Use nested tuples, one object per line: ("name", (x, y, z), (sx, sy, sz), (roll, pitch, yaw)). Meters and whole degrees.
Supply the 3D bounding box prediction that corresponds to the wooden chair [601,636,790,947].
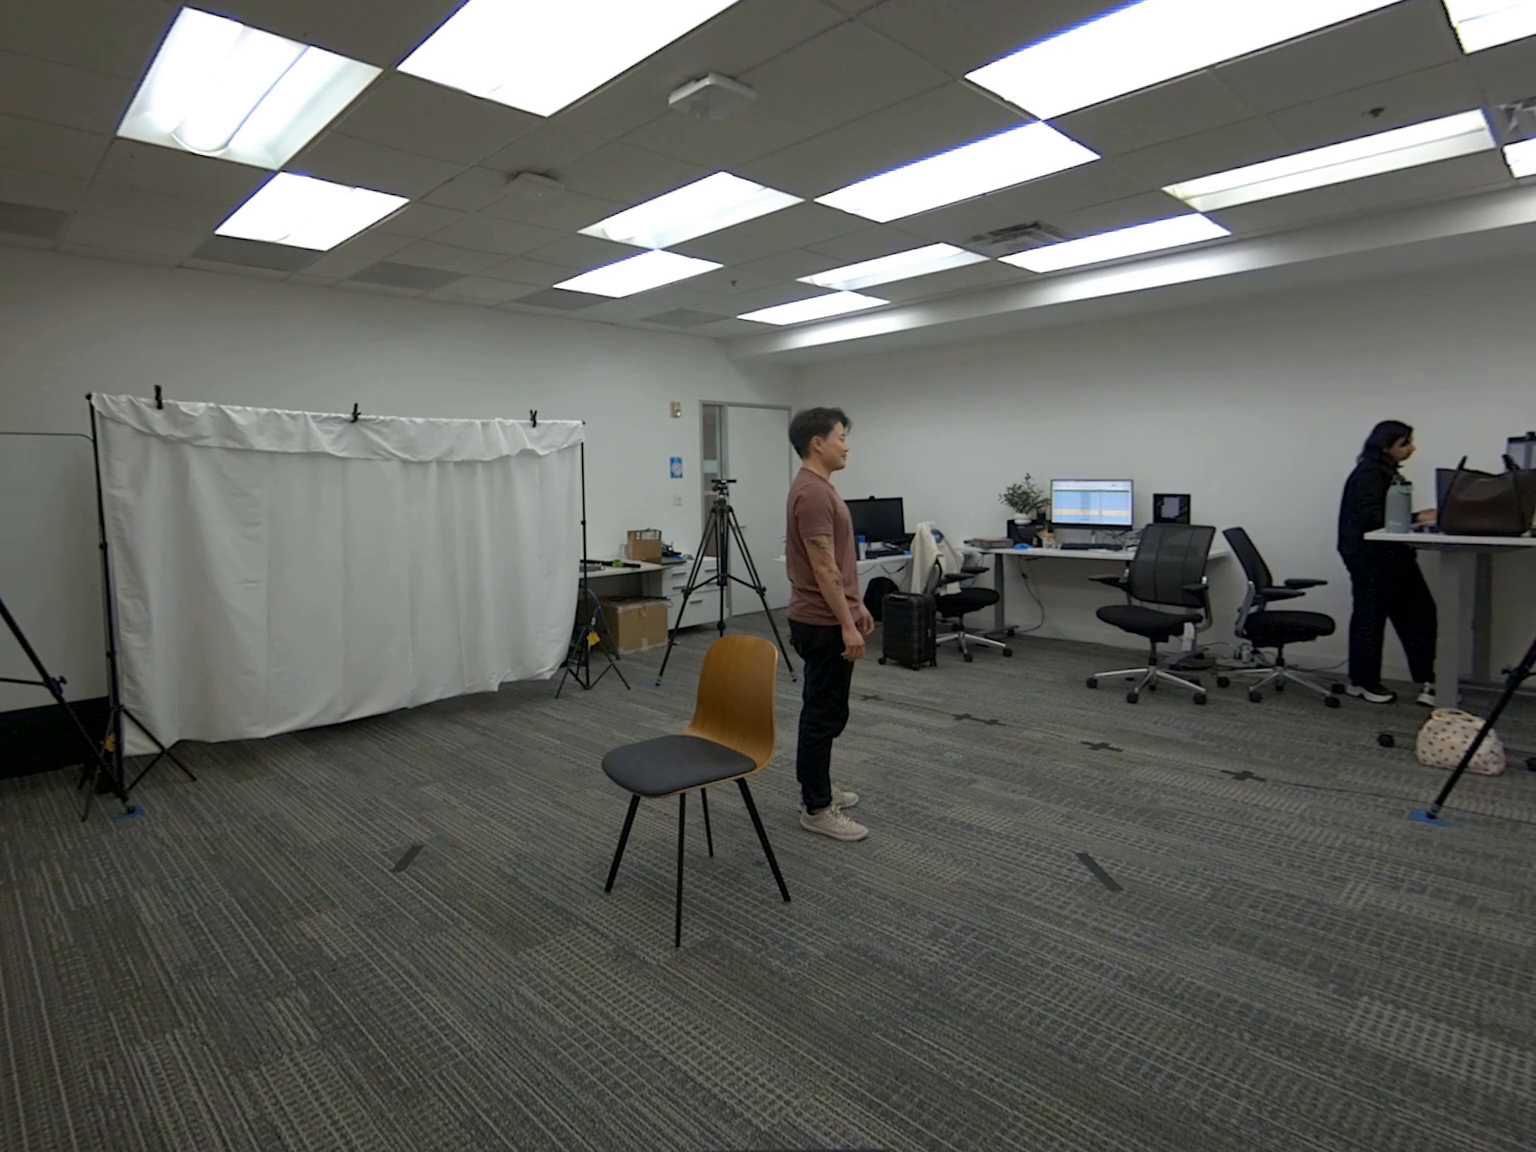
("wooden chair", (-0.252, 0.653, 2.834), (0.508, 0.876, 0.492), (1, 2, -38))
